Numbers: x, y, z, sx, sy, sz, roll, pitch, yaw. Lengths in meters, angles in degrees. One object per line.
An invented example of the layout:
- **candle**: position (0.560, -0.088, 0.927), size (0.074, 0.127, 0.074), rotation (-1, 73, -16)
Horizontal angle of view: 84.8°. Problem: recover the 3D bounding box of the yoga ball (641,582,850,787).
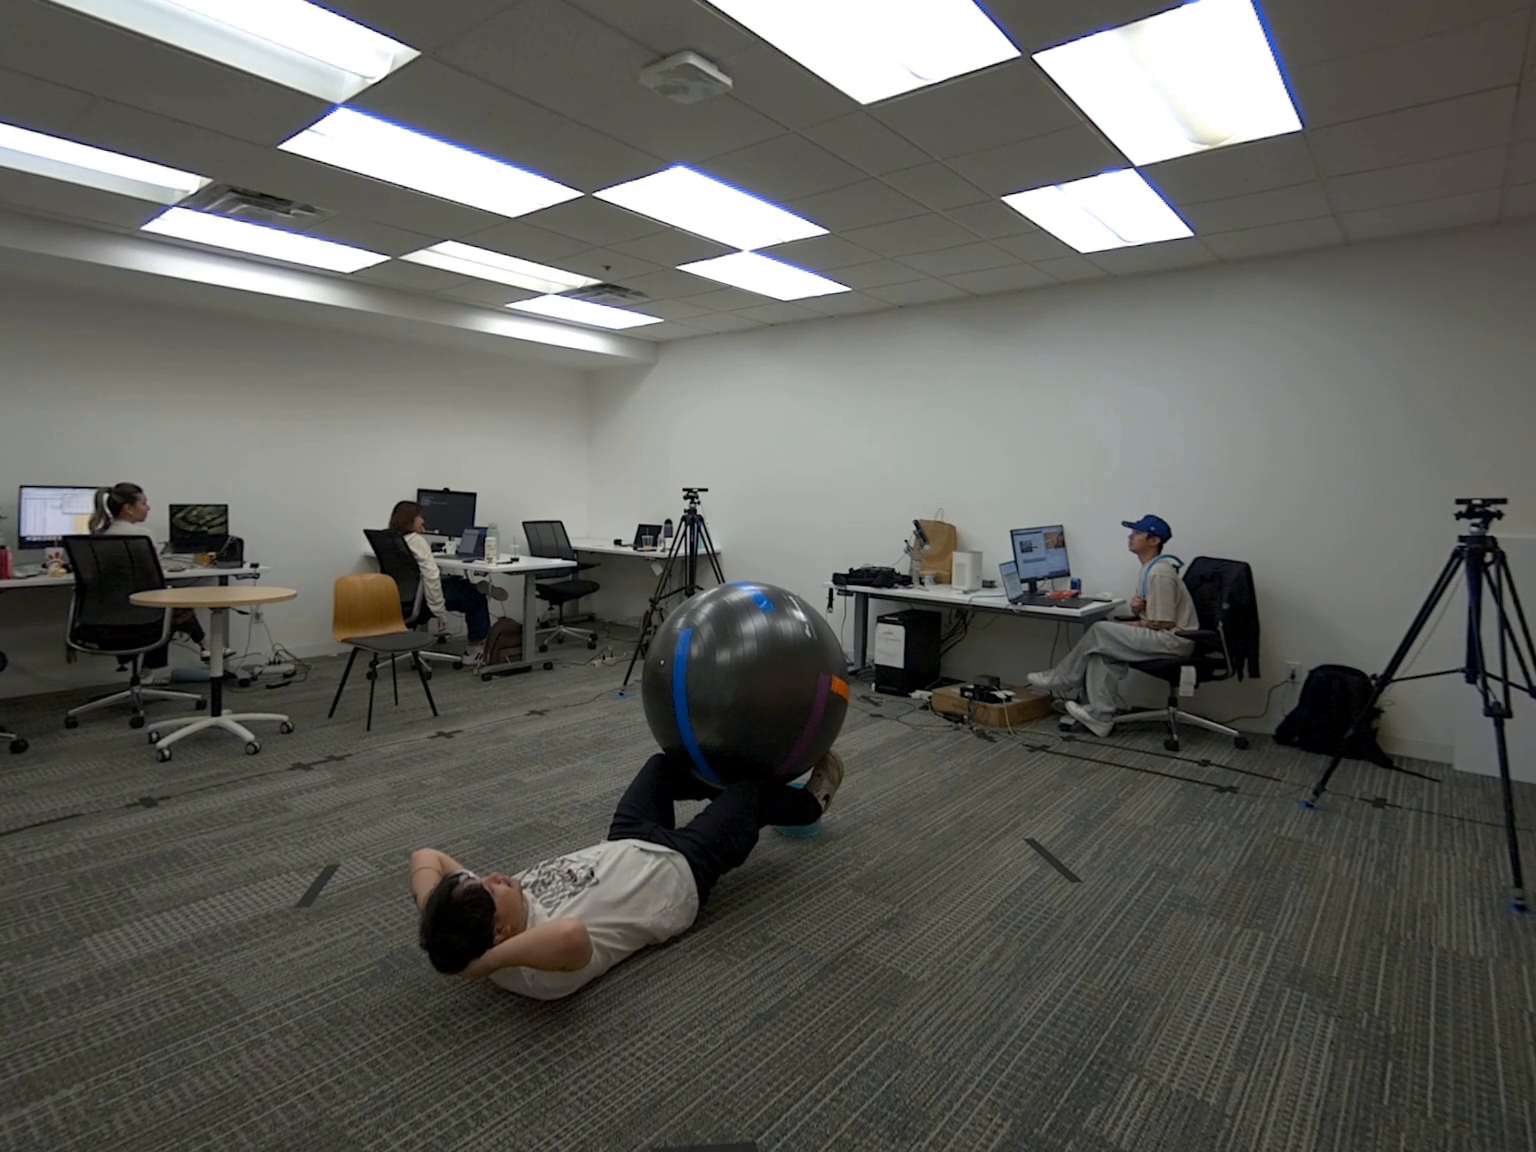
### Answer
- **yoga ball**: position (-0.096, 0.391, 3.120), size (0.757, 0.755, 0.762), rotation (1, 4, -2)
